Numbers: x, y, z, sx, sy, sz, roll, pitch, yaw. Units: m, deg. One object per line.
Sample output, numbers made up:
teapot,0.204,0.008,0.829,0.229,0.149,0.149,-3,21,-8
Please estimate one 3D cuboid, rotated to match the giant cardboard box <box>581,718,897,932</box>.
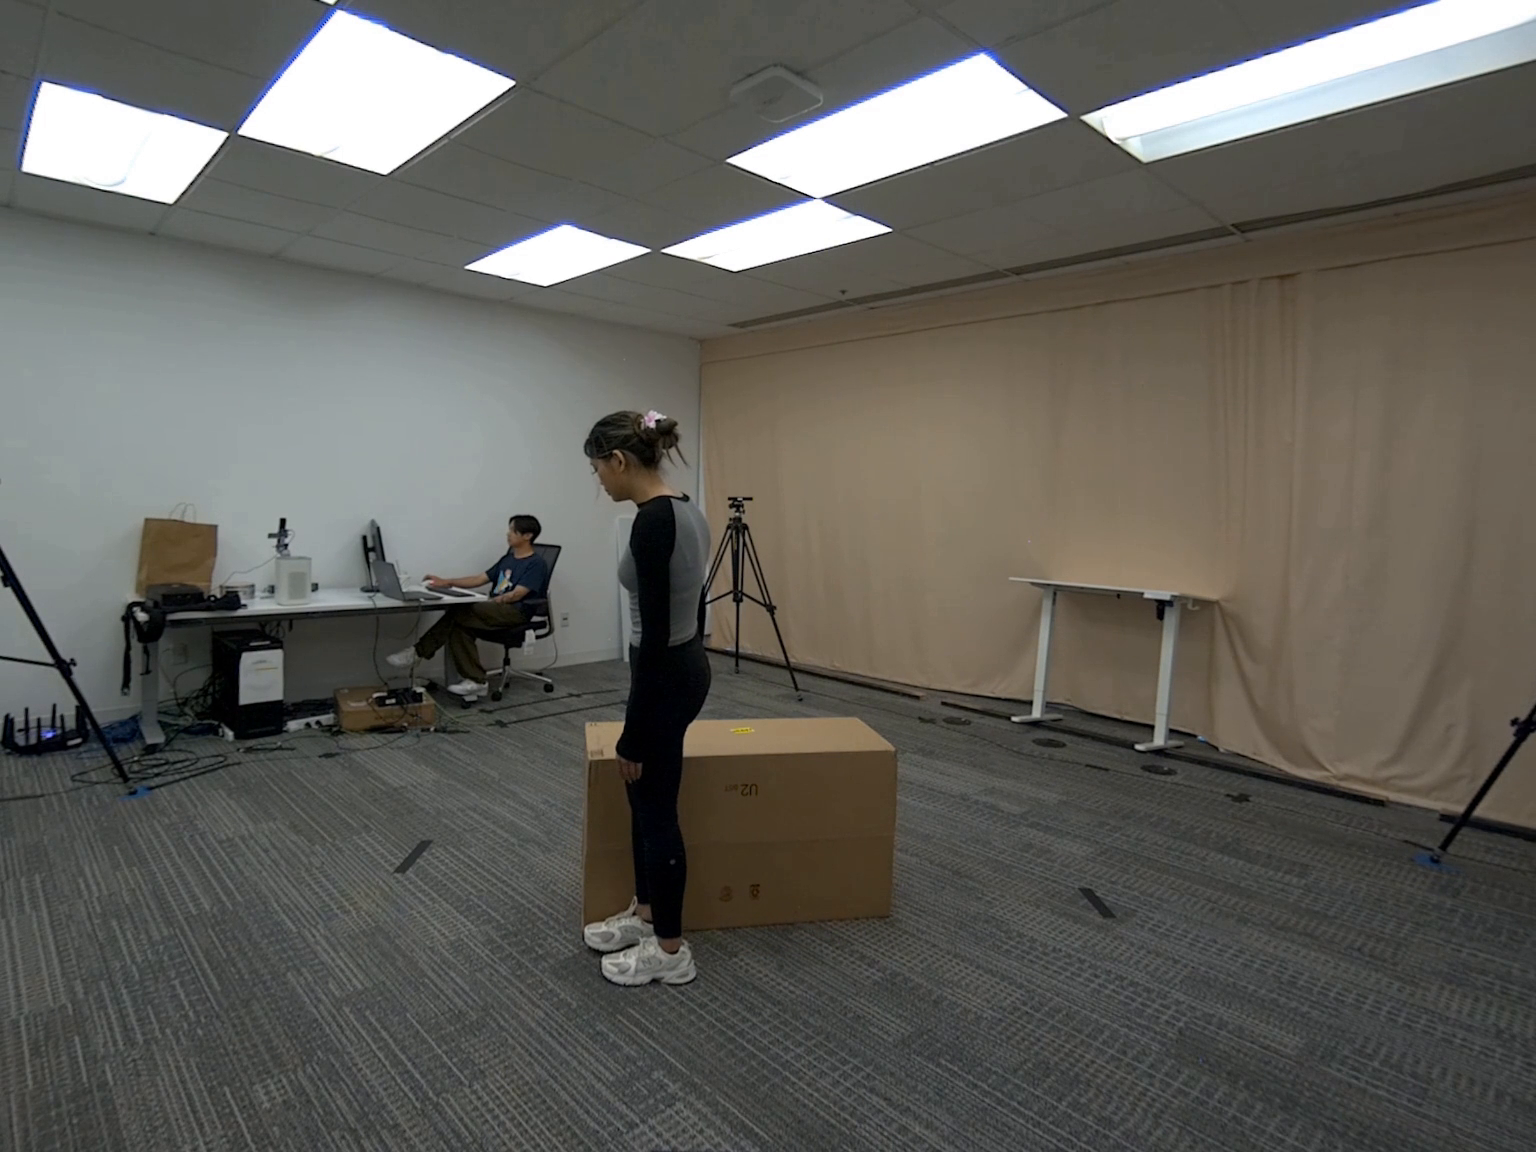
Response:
giant cardboard box,-0.123,0.835,2.922,1.016,0.576,0.431,1,5,-11
